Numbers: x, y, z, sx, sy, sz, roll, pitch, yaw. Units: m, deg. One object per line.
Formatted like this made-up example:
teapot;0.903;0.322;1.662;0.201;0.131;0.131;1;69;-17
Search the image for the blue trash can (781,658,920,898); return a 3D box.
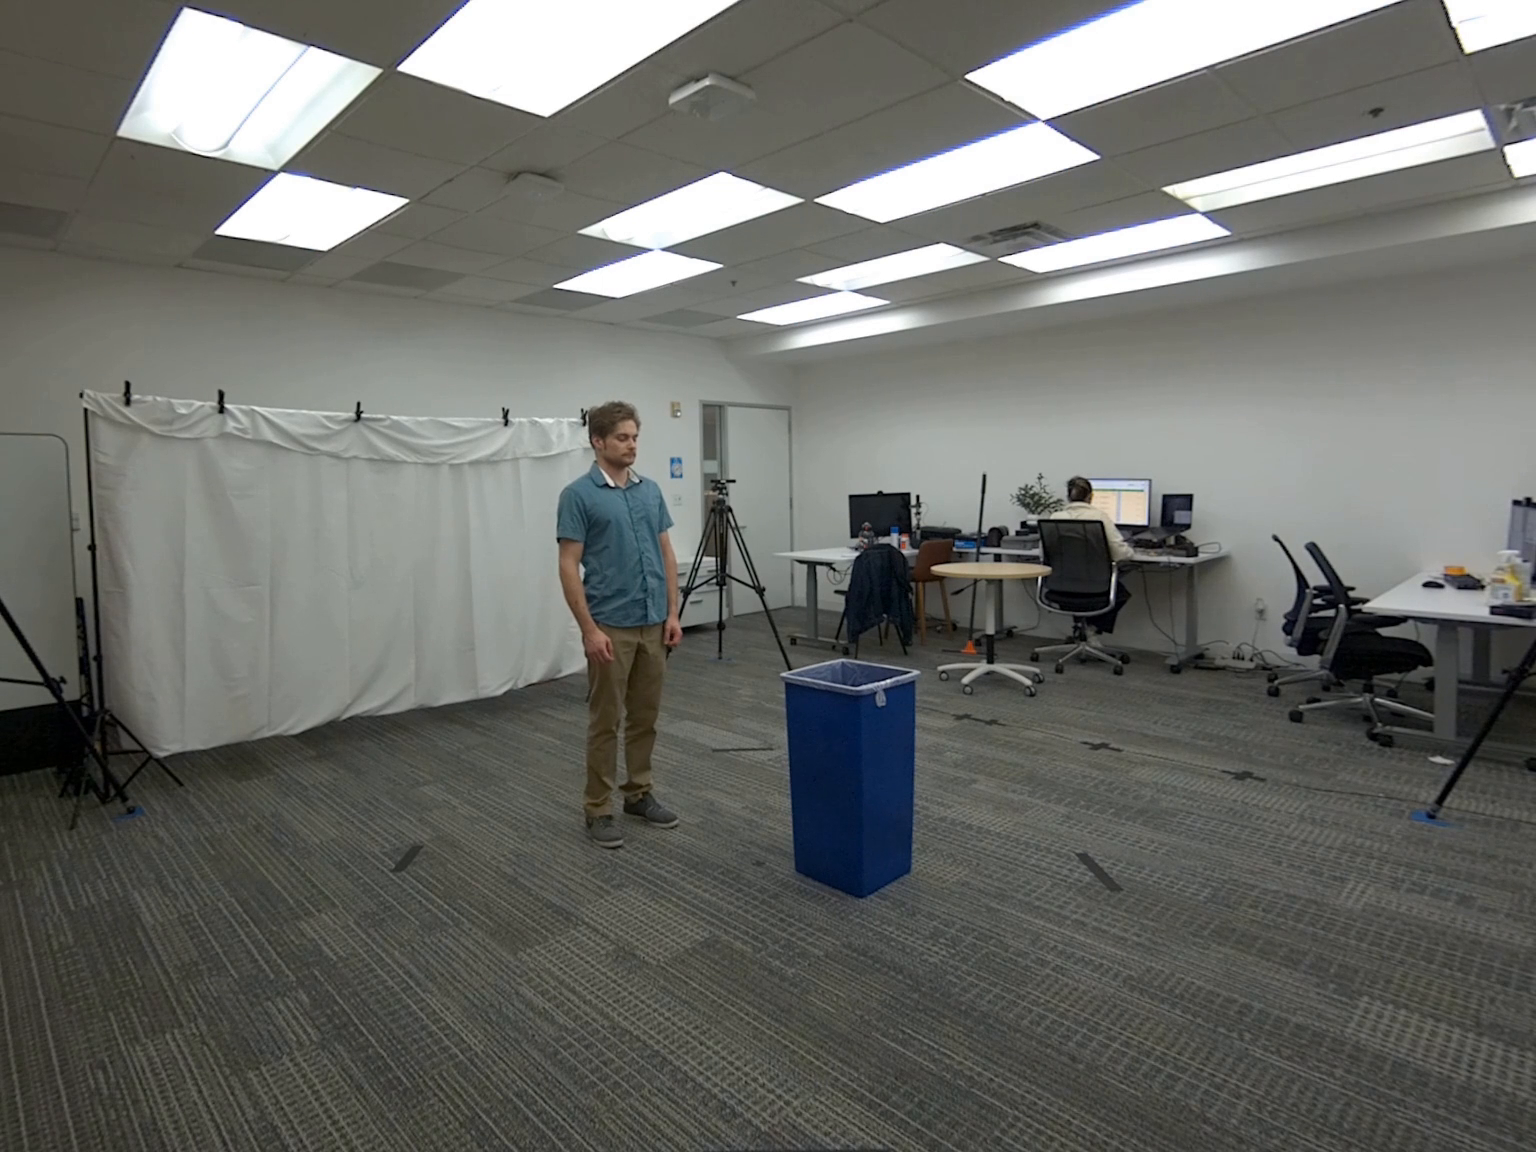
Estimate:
blue trash can;0.299;0.696;3.012;0.389;0.712;0.364;2;3;44
